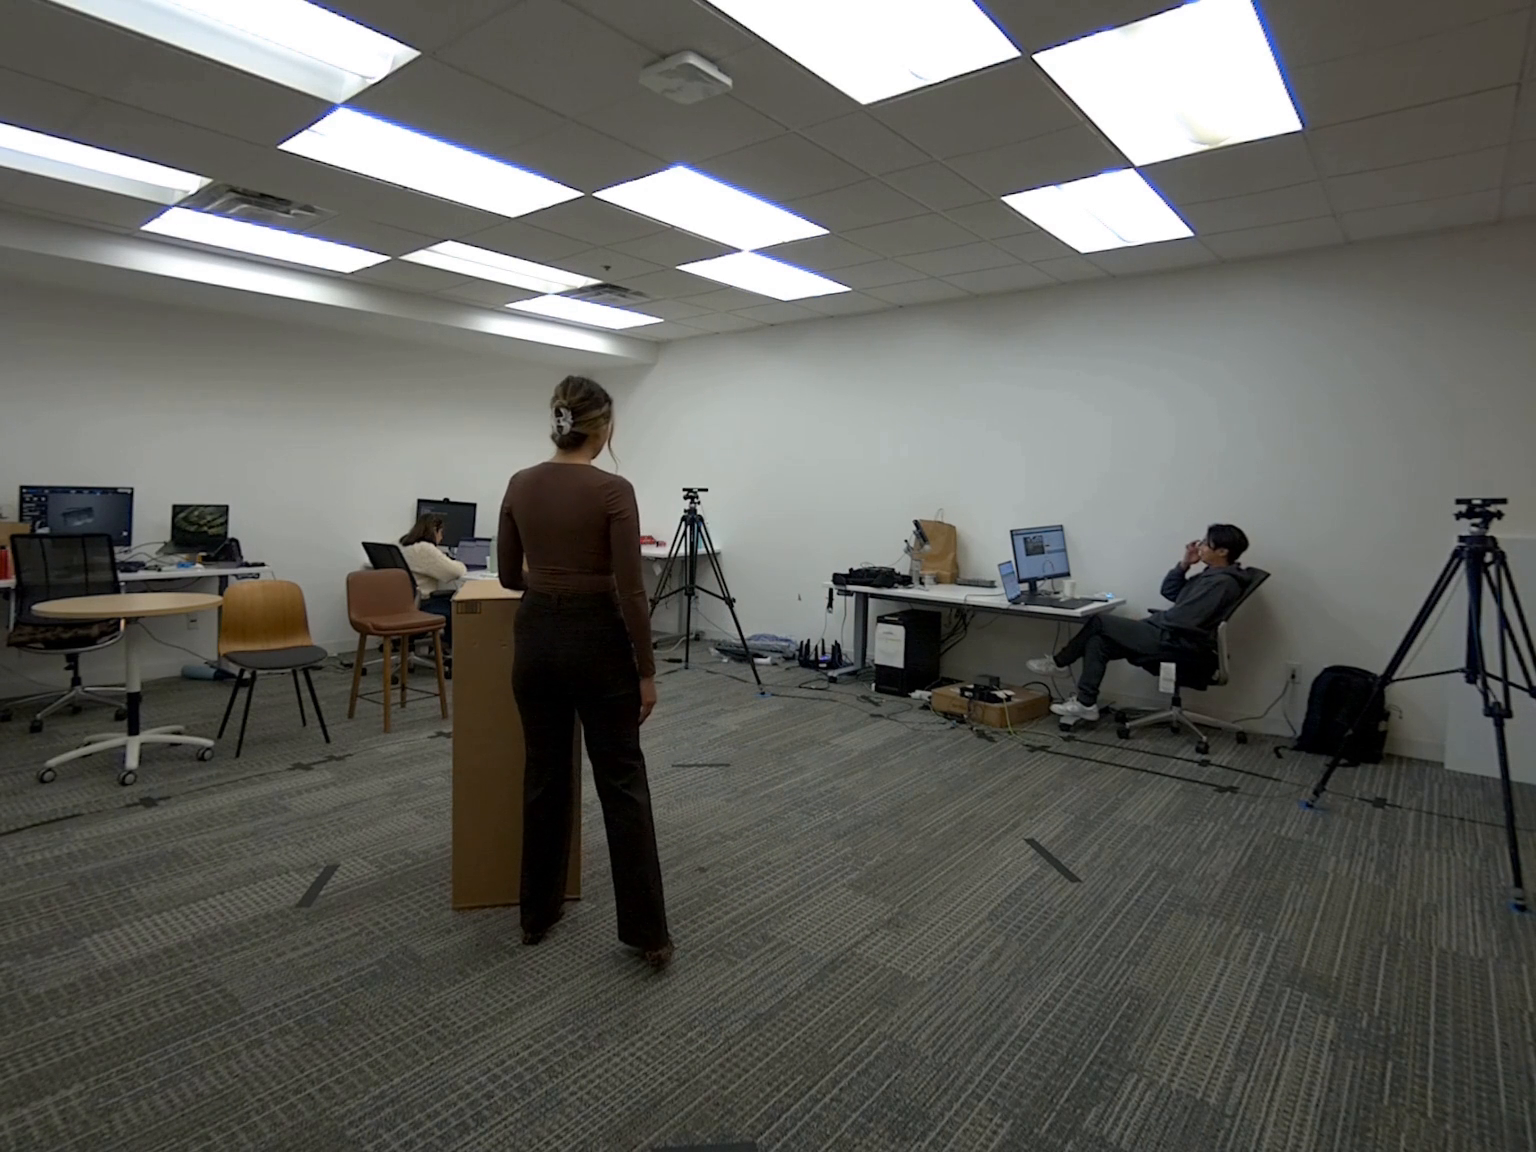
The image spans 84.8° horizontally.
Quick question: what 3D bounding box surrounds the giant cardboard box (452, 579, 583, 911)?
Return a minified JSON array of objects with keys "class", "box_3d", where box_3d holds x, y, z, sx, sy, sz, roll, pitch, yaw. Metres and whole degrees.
[{"class":"giant cardboard box","box_3d":[-0.907,0.550,3.077,0.440,1.024,0.594,0,3,-15]}]
